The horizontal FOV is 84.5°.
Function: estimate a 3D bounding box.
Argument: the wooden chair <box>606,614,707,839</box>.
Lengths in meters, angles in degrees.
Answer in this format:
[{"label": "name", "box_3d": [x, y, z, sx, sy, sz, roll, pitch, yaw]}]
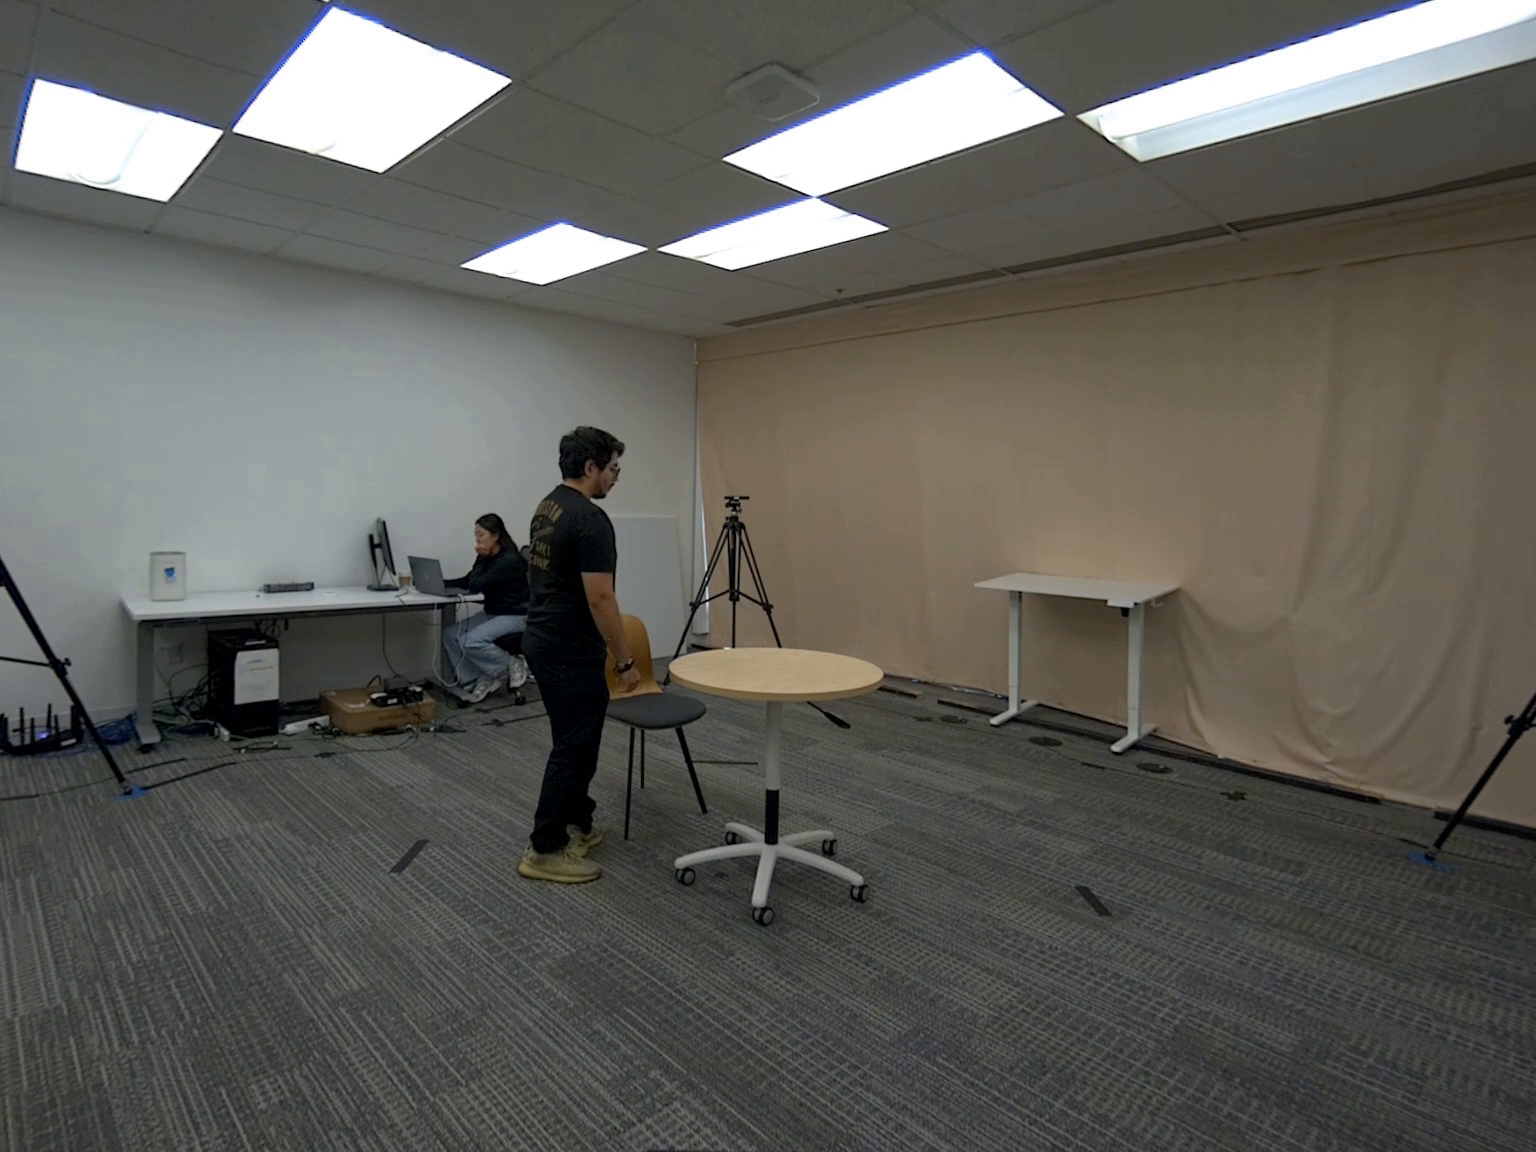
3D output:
[{"label": "wooden chair", "box_3d": [-0.572, 0.614, 3.685, 0.535, 0.878, 0.467, -1, 0, 44]}]
